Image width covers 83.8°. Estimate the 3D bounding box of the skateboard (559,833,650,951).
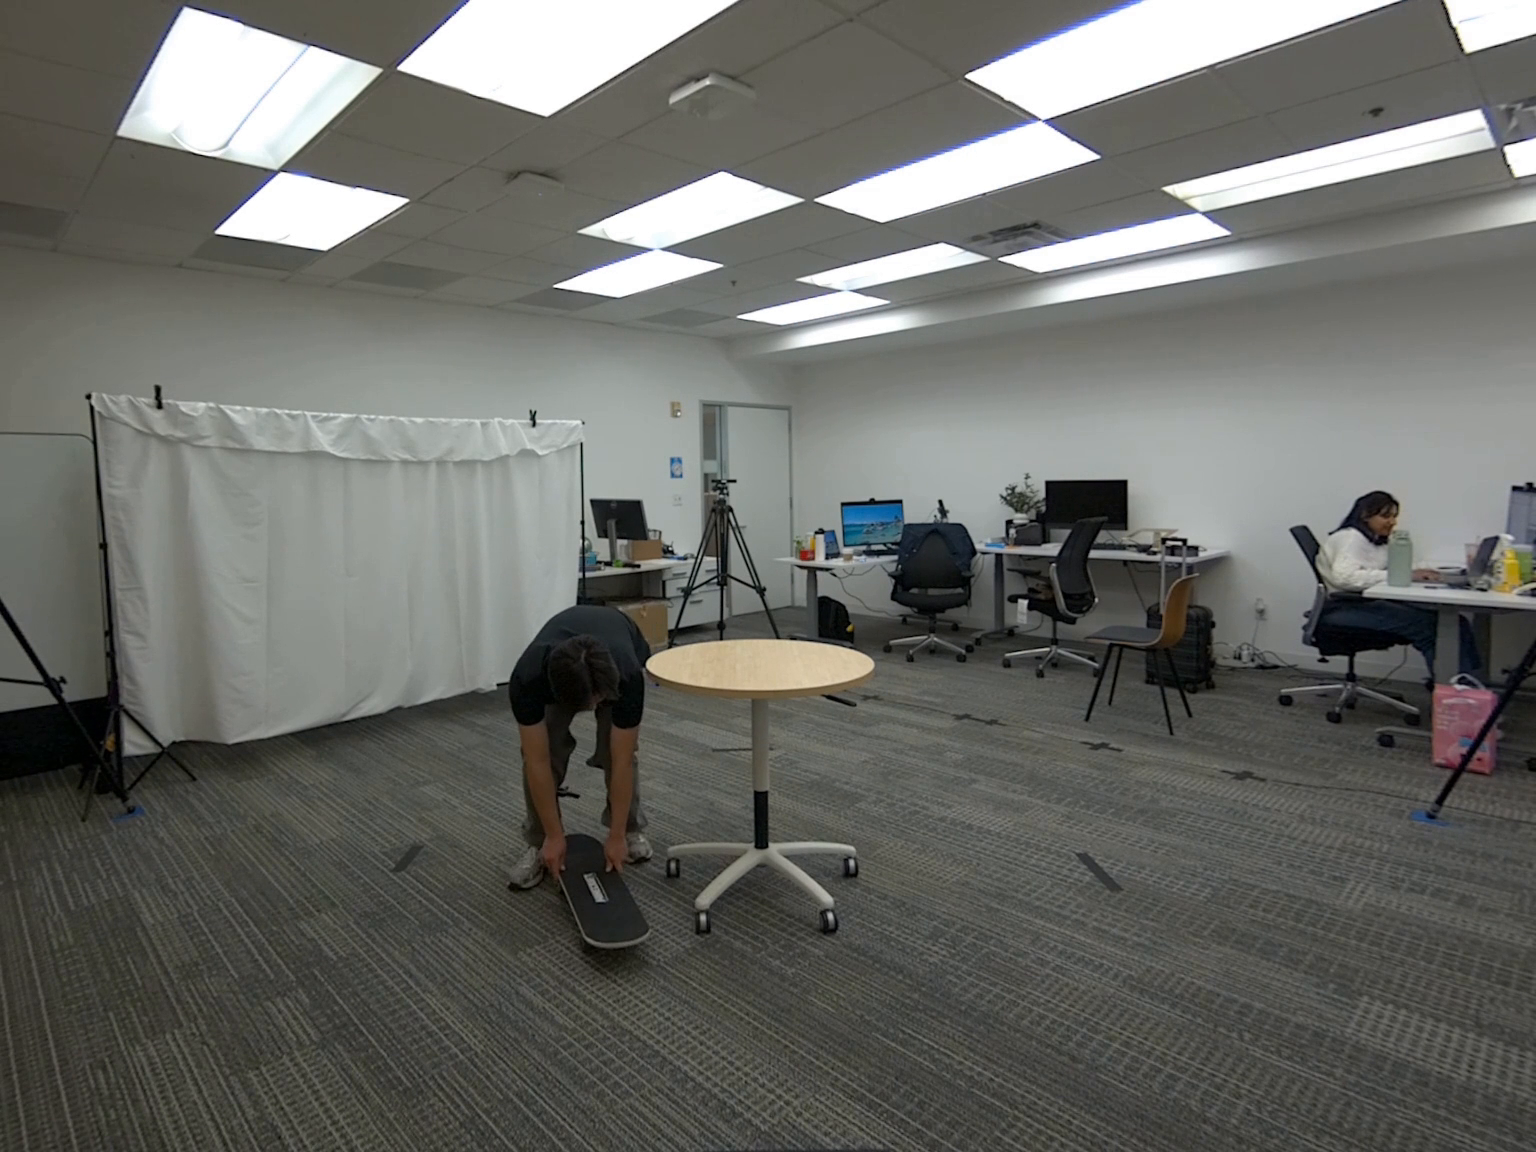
[{"bbox_3d":[-0.556,1.041,2.766,0.190,0.110,0.804,-4,7,-23],"label":"skateboard"}]
